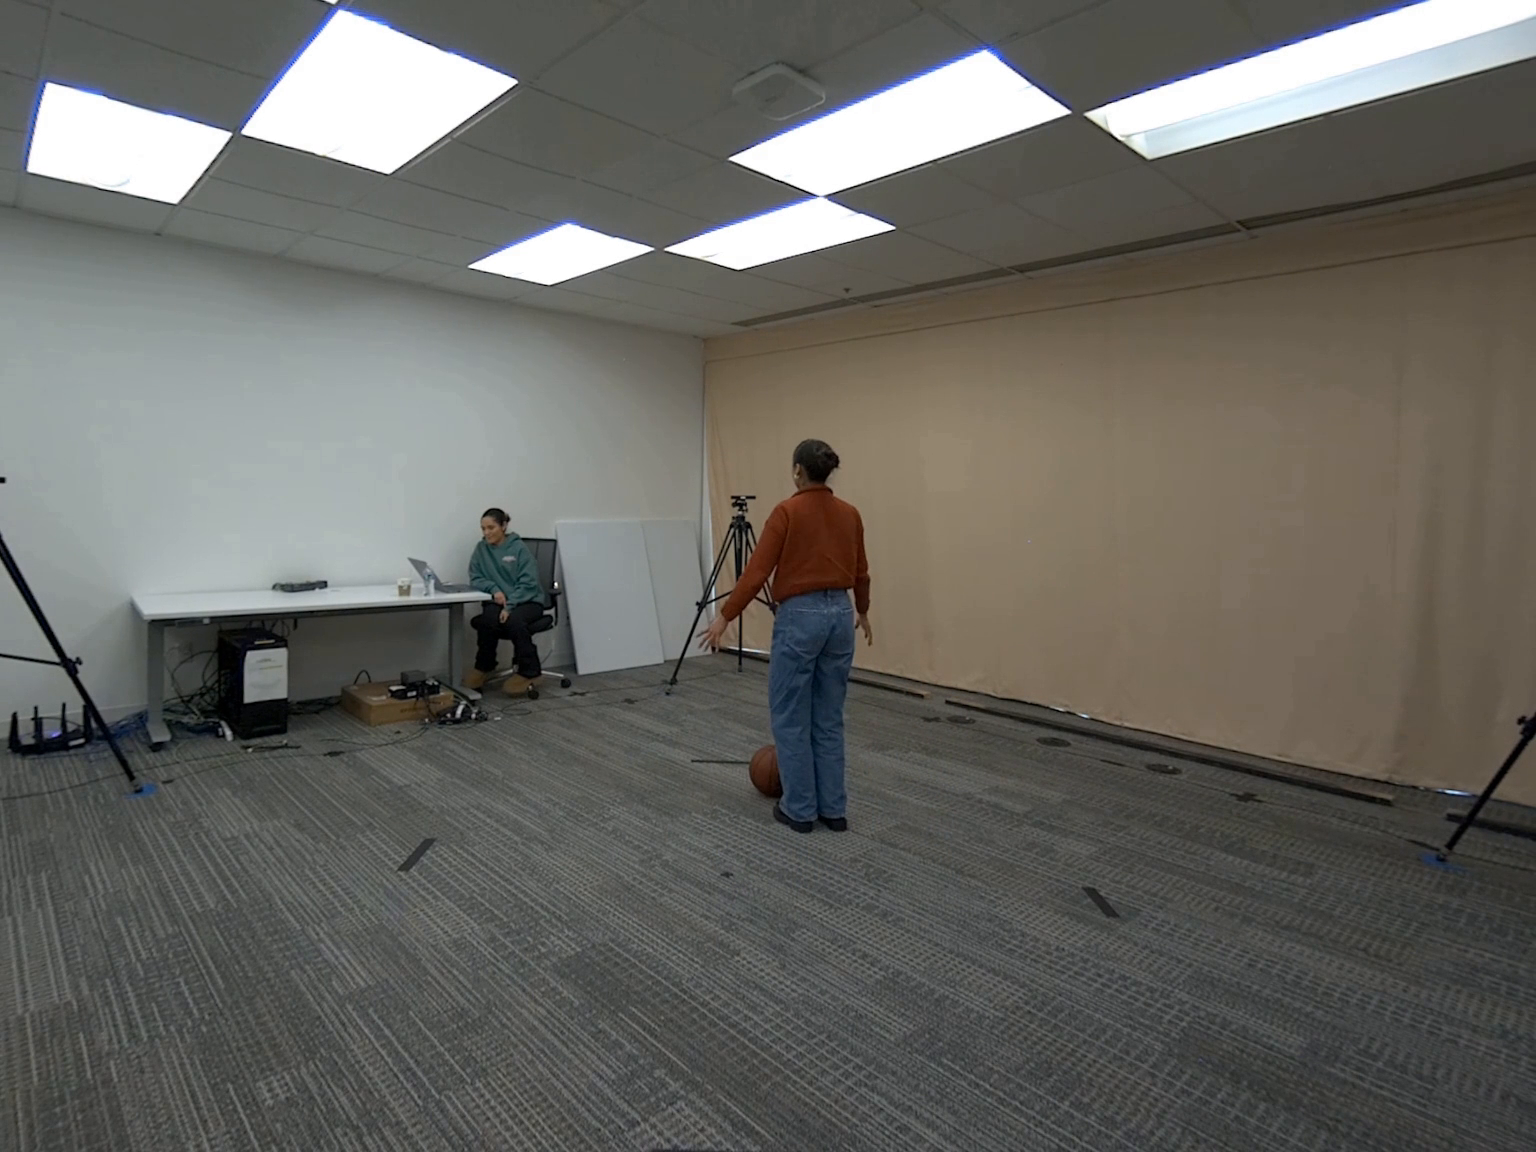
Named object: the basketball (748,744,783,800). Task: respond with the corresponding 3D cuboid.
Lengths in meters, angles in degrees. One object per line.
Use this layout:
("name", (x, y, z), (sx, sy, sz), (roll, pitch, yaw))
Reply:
("basketball", (0.018, 0.913, 3.970), (0.236, 0.235, 0.237), (1, 4, -1))
